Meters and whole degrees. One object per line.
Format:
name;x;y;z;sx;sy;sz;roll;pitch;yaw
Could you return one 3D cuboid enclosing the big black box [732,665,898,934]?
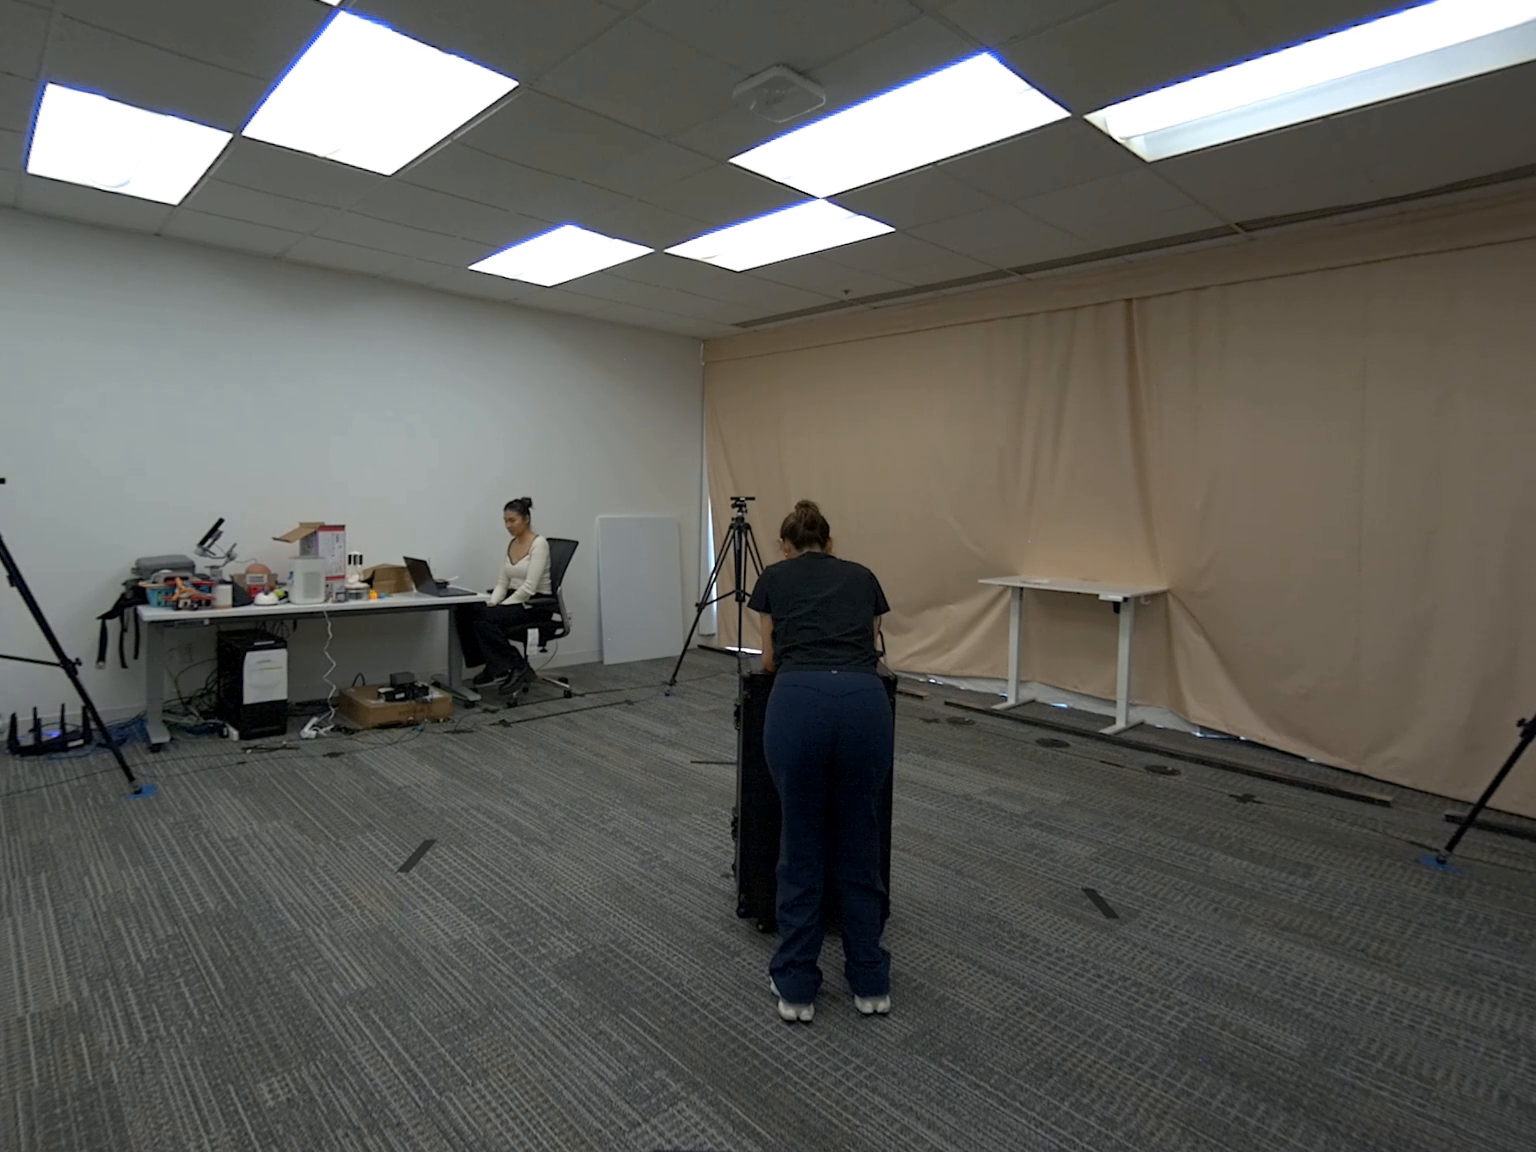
big black box;0.135;0.652;2.790;0.520;0.860;0.398;1;3;-2
